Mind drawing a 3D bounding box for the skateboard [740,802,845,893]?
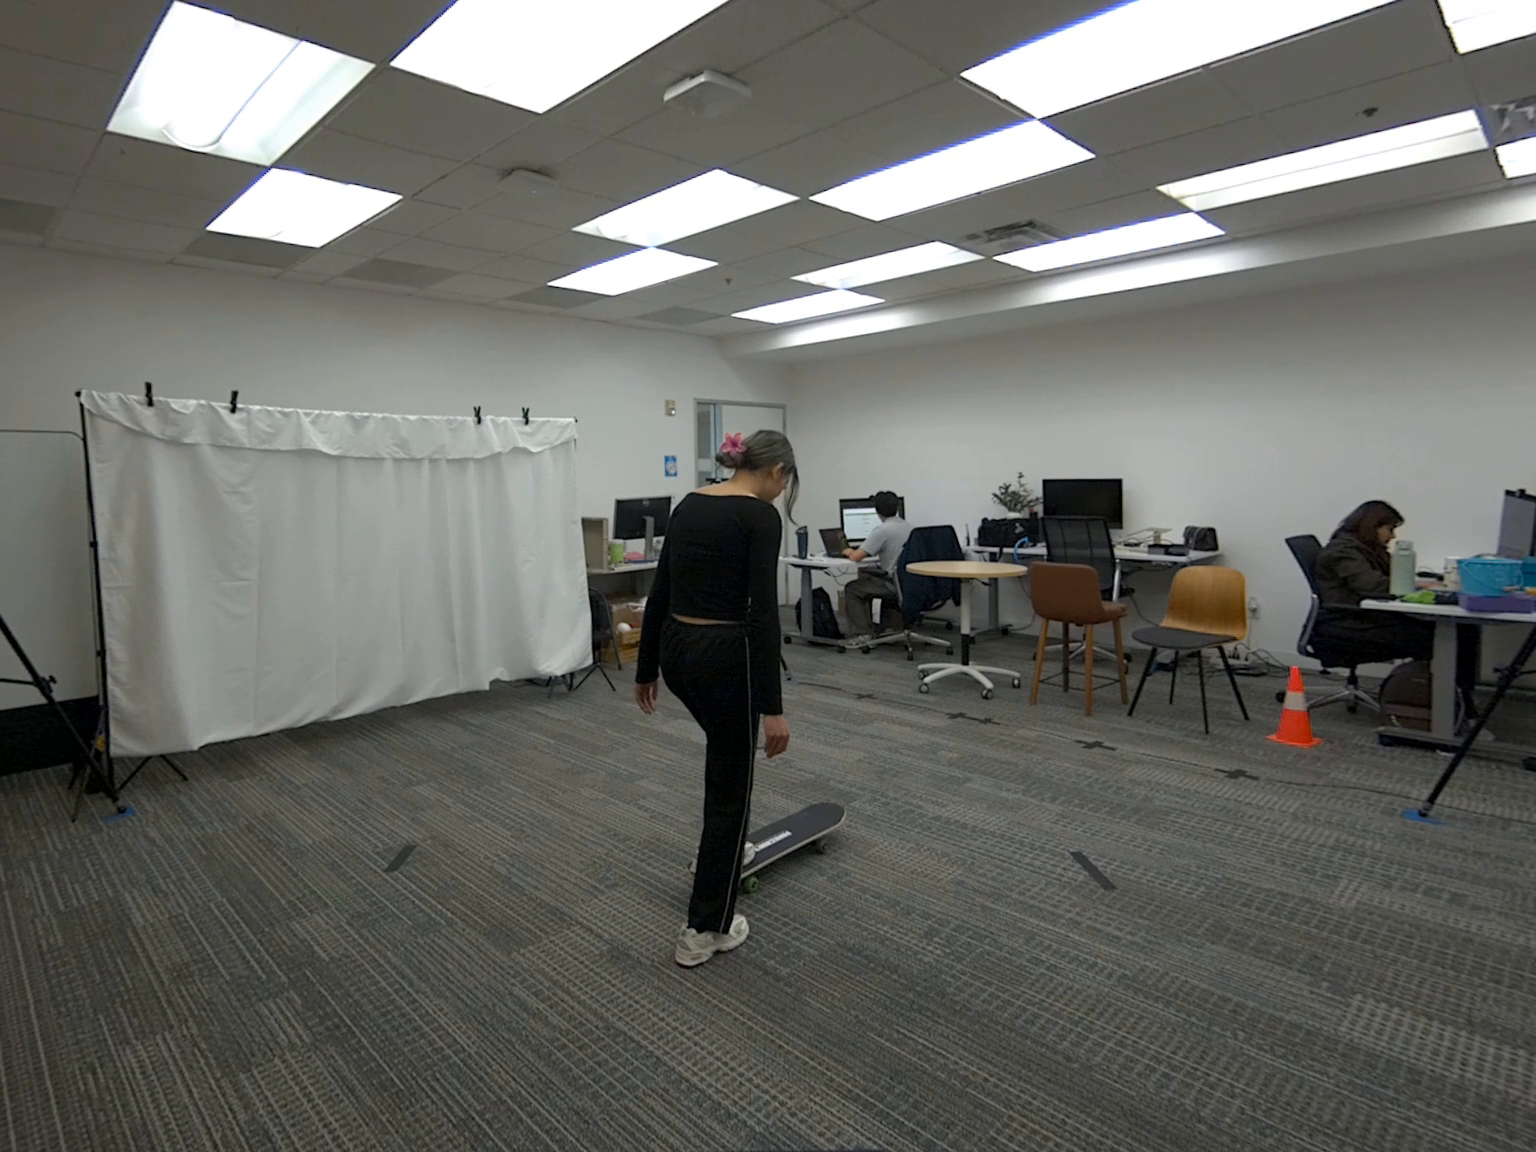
[{"bbox_3d":[0.009,0.986,3.083,0.199,0.110,0.766,4,9,41],"label":"skateboard"}]
